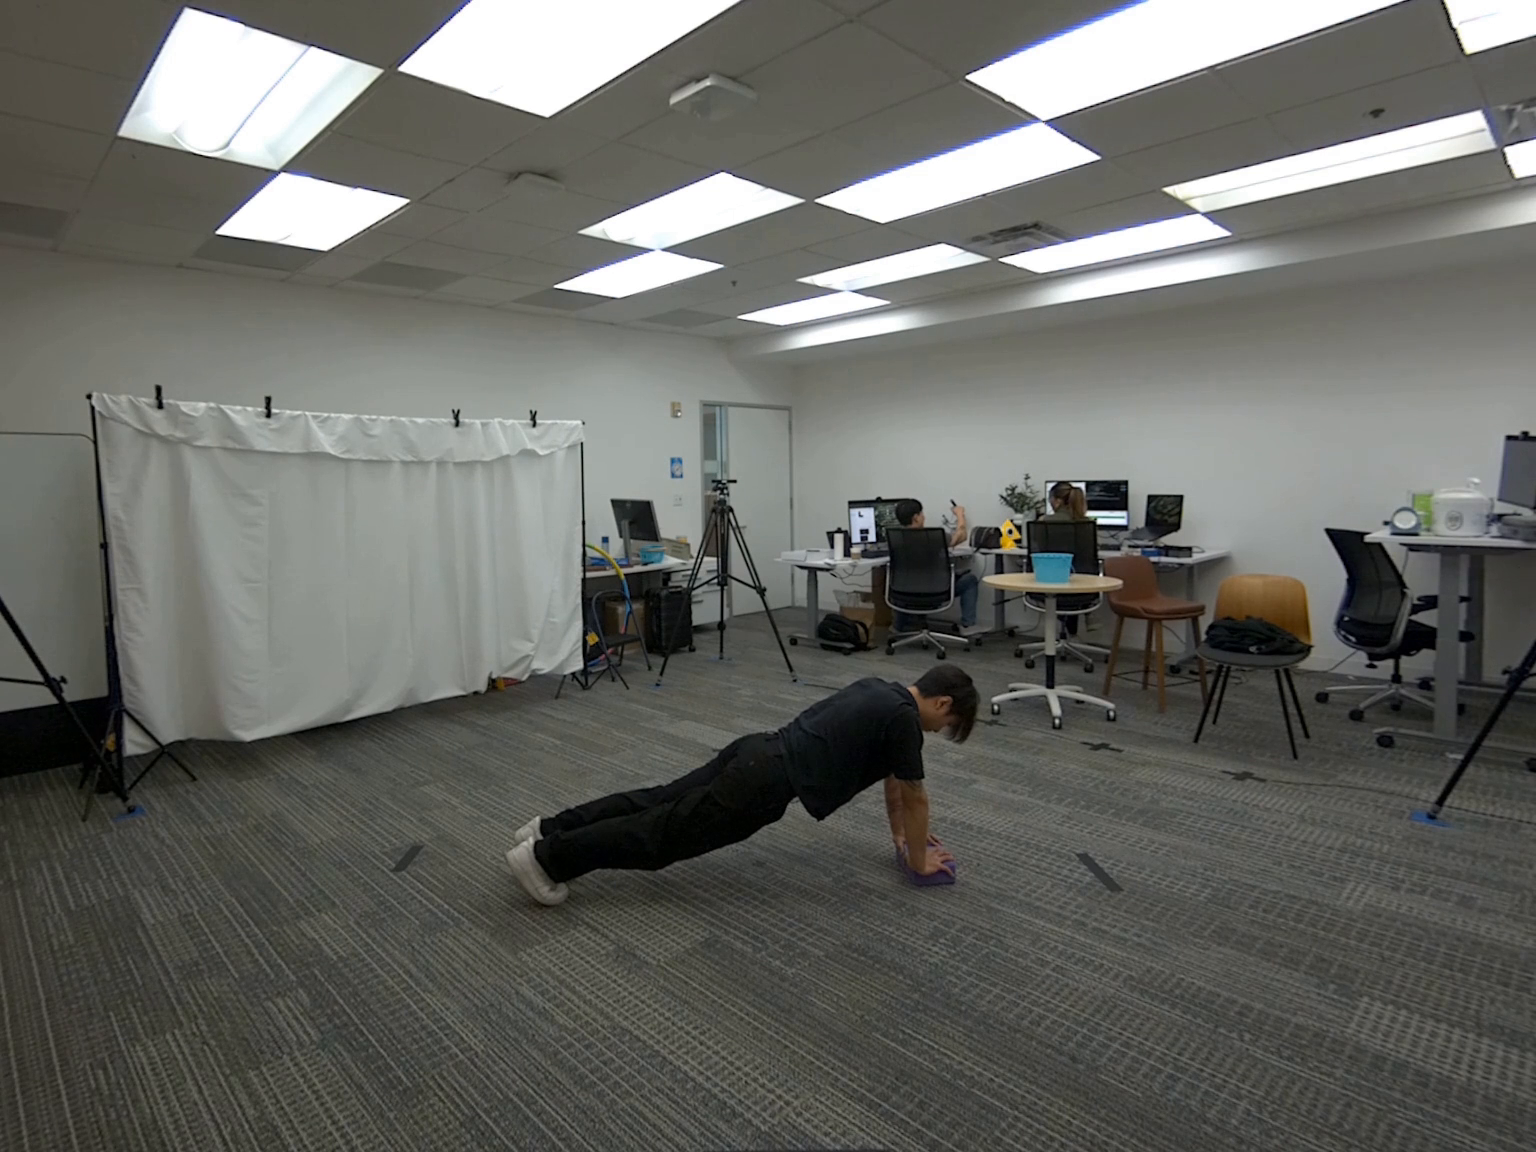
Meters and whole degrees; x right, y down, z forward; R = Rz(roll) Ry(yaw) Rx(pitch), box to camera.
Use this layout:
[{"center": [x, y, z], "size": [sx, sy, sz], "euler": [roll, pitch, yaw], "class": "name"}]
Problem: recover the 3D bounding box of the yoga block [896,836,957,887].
[{"center": [0.555, 1.006, 3.027], "size": [0.148, 0.076, 0.232], "euler": [-3, 6, -8], "class": "yoga block"}]
